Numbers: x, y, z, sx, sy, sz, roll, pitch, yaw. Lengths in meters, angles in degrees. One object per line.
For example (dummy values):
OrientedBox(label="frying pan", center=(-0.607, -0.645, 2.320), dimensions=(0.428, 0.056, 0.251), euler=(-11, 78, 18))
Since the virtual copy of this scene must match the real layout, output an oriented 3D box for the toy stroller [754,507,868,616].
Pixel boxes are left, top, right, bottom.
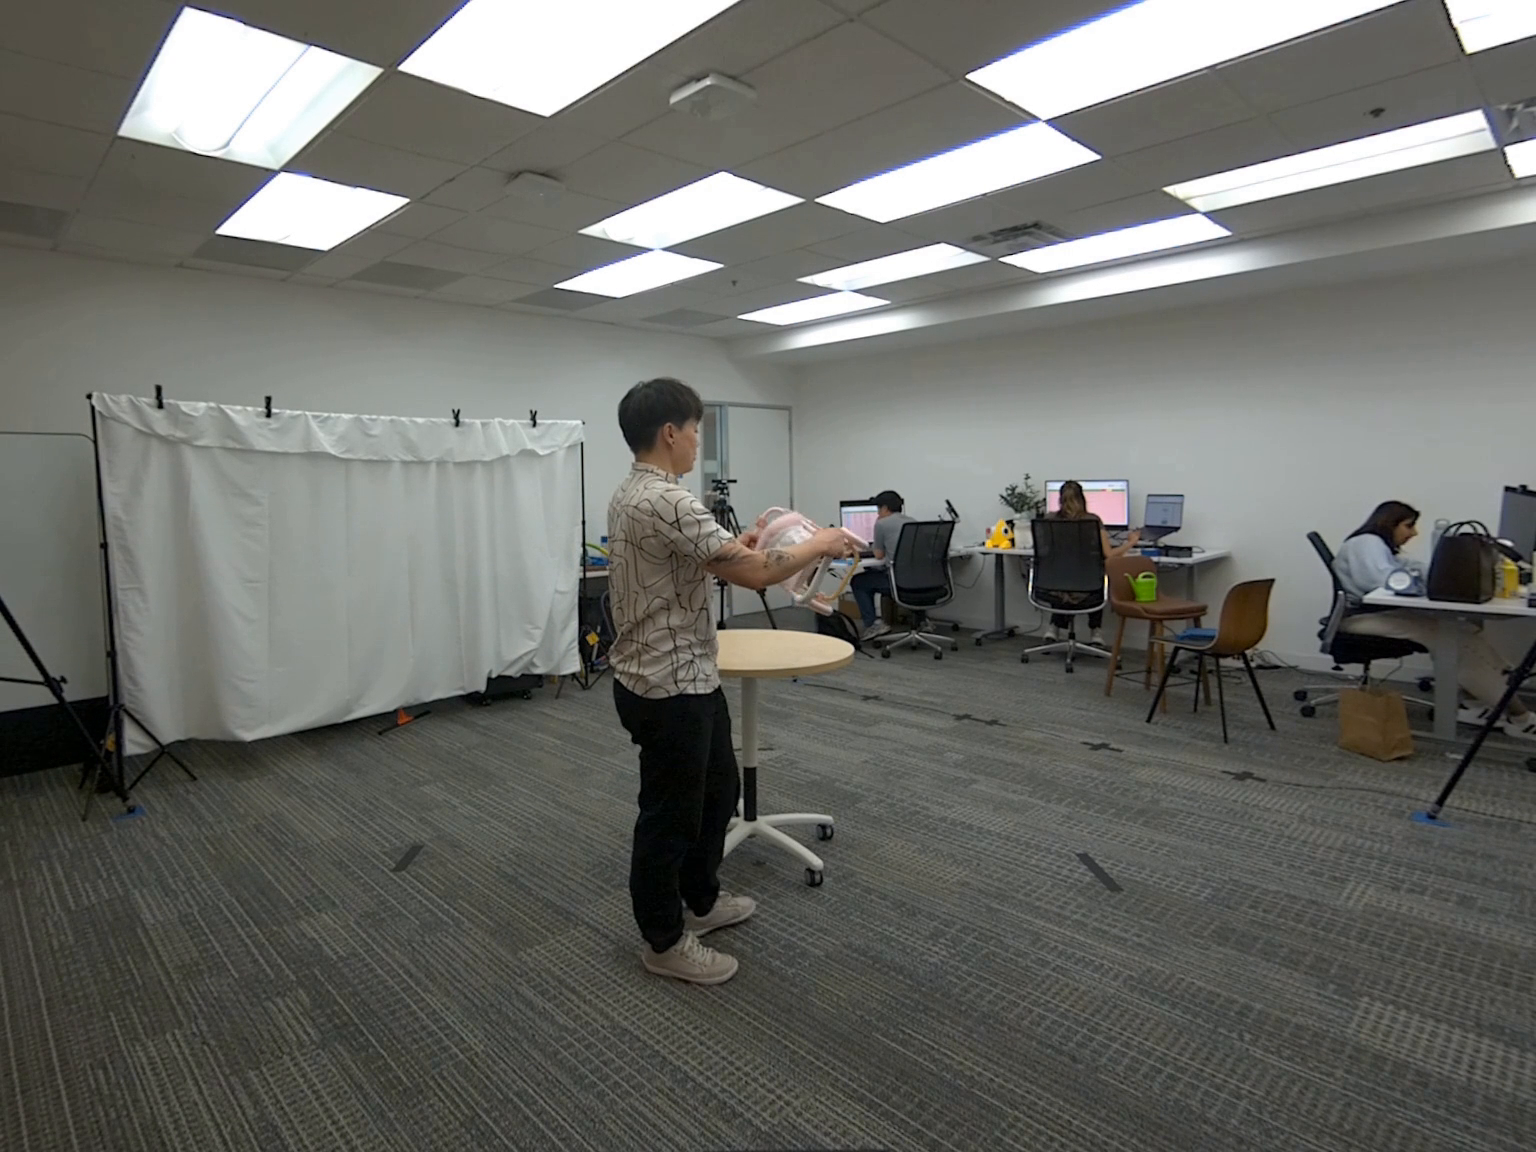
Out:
OrientedBox(label="toy stroller", center=(0.095, -0.073, 2.671), dimensions=(0.349, 0.281, 0.524), euler=(35, 9, 16))
